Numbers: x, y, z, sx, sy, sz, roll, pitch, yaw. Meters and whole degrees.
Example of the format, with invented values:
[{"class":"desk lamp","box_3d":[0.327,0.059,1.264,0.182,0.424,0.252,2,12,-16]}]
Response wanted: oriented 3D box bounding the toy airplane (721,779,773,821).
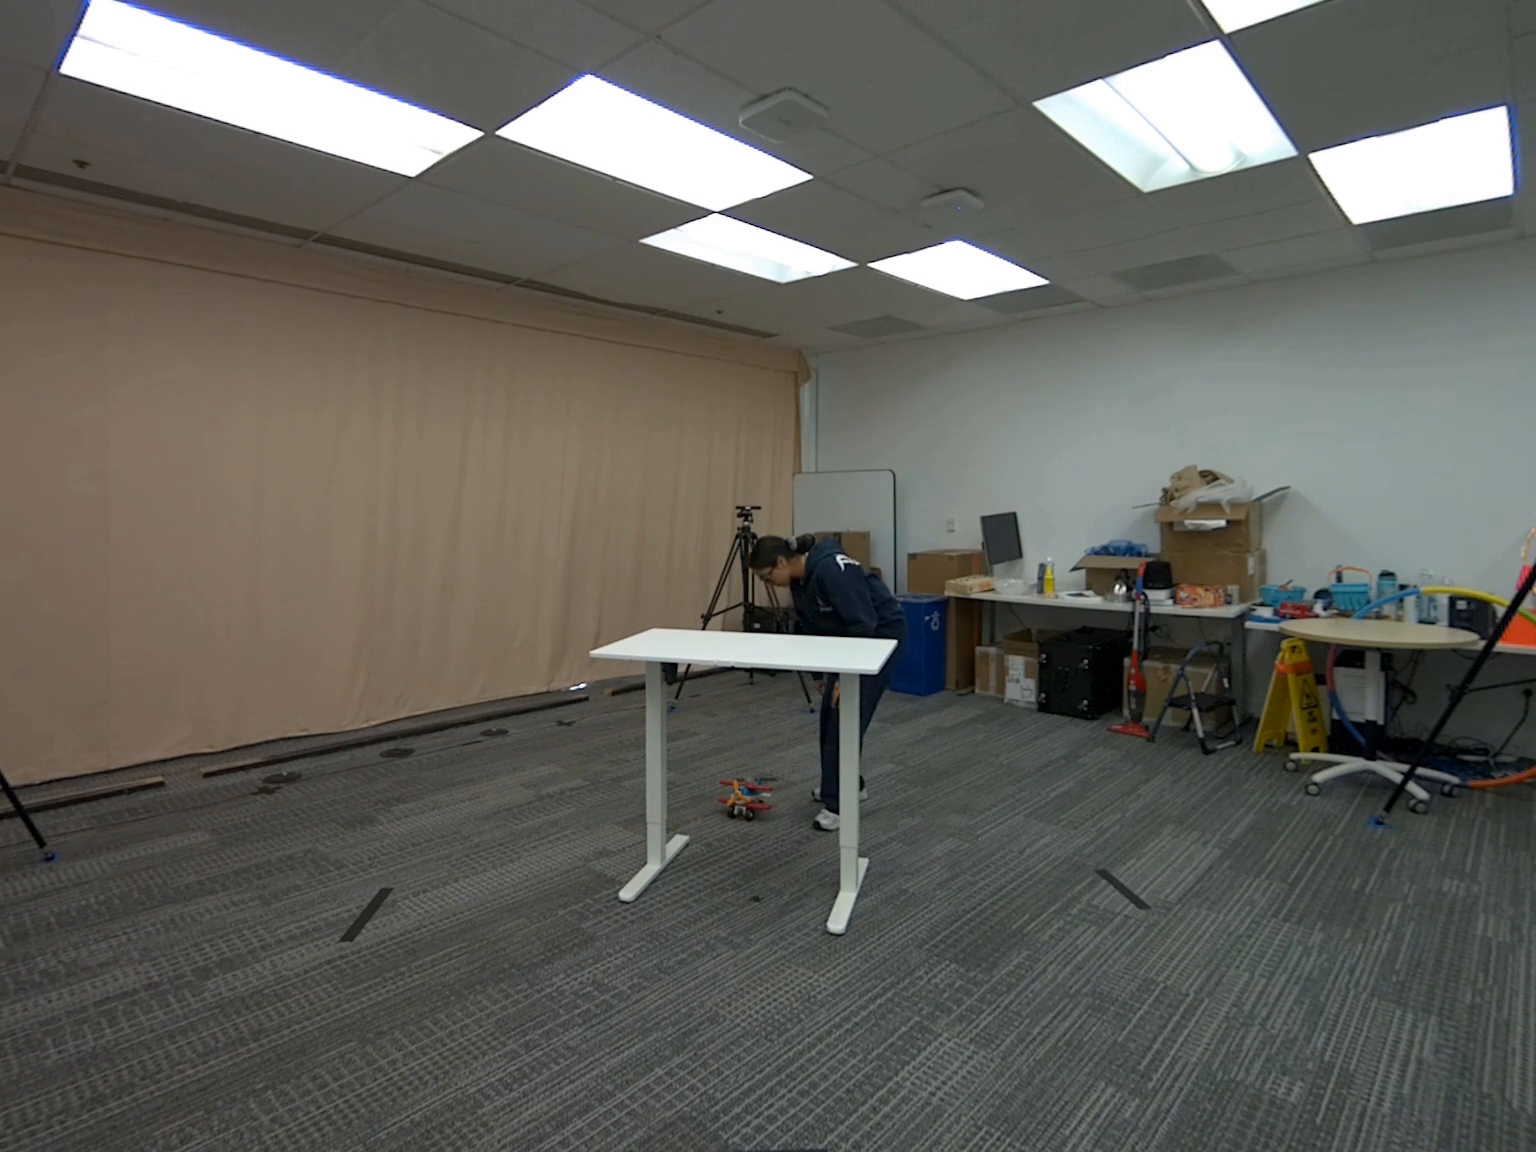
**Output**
[{"class":"toy airplane","box_3d":[-0.082,1.000,3.830,0.250,0.156,0.261,0,4,-5]}]
